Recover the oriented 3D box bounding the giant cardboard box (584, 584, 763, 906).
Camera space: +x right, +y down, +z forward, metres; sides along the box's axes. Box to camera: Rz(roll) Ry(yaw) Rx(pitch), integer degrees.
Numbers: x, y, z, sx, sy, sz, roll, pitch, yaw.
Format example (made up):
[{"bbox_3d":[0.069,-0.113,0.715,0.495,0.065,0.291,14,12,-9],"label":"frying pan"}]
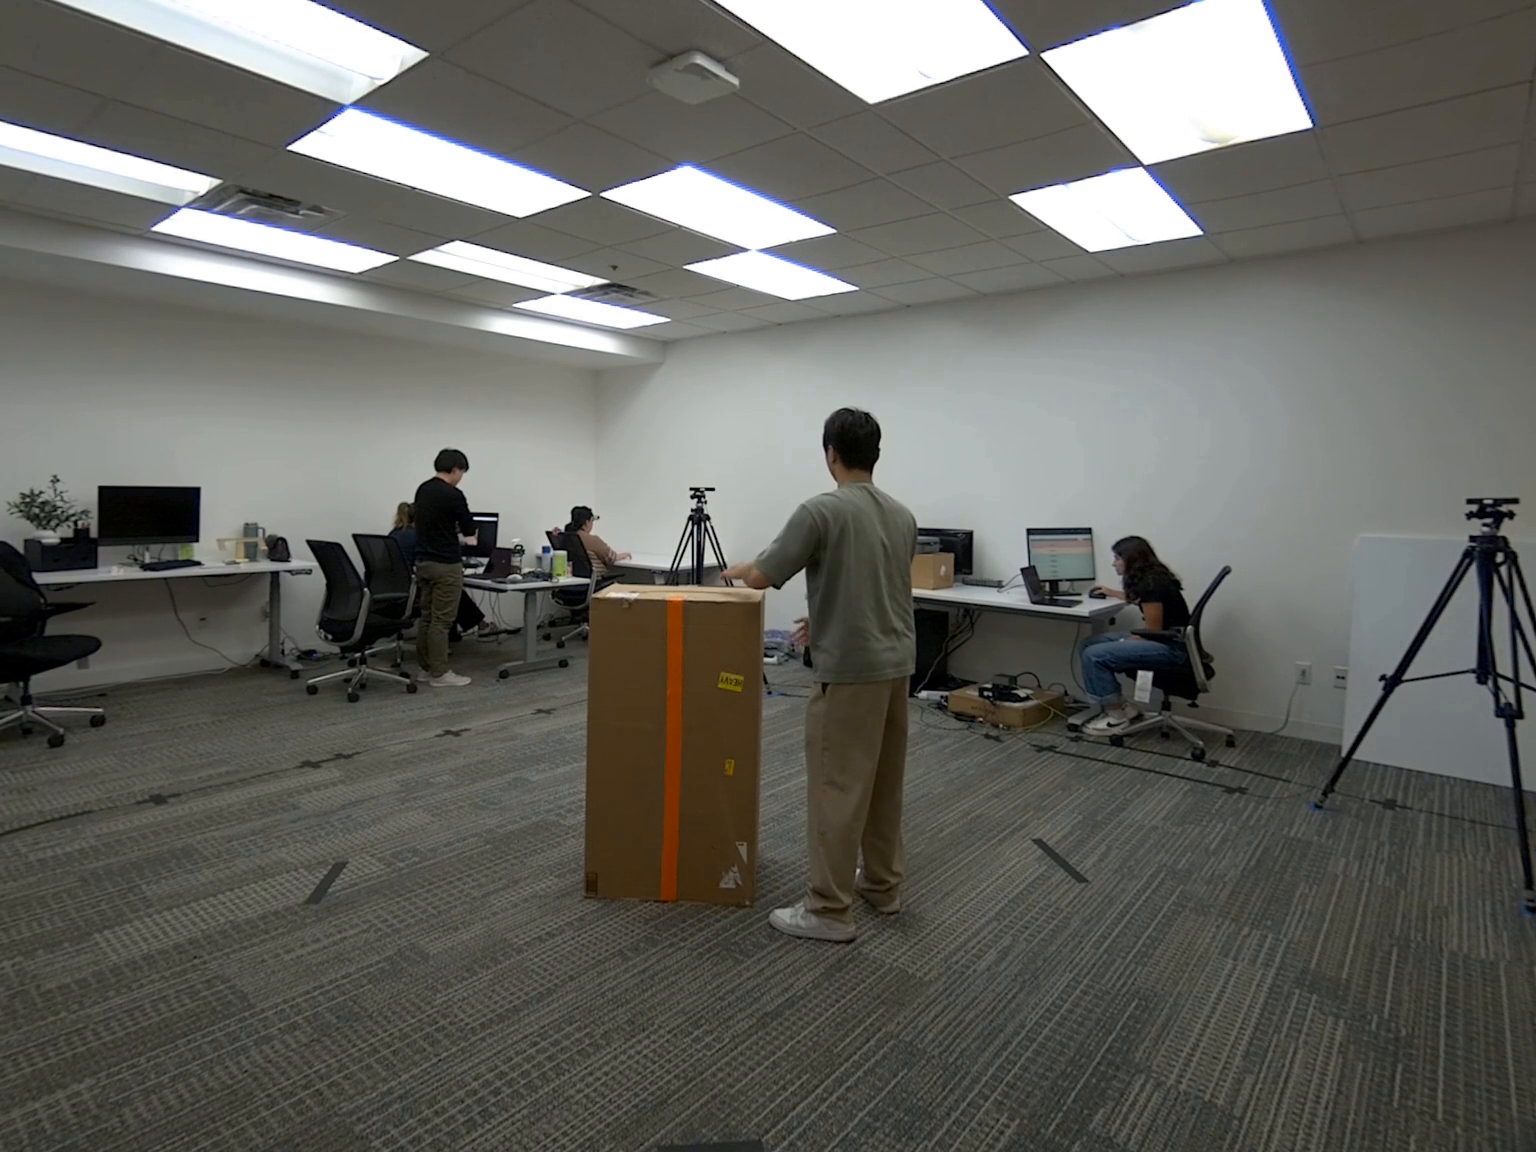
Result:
[{"bbox_3d":[-0.331,0.563,3.030,0.580,1.023,0.426,2,3,3],"label":"giant cardboard box"}]
